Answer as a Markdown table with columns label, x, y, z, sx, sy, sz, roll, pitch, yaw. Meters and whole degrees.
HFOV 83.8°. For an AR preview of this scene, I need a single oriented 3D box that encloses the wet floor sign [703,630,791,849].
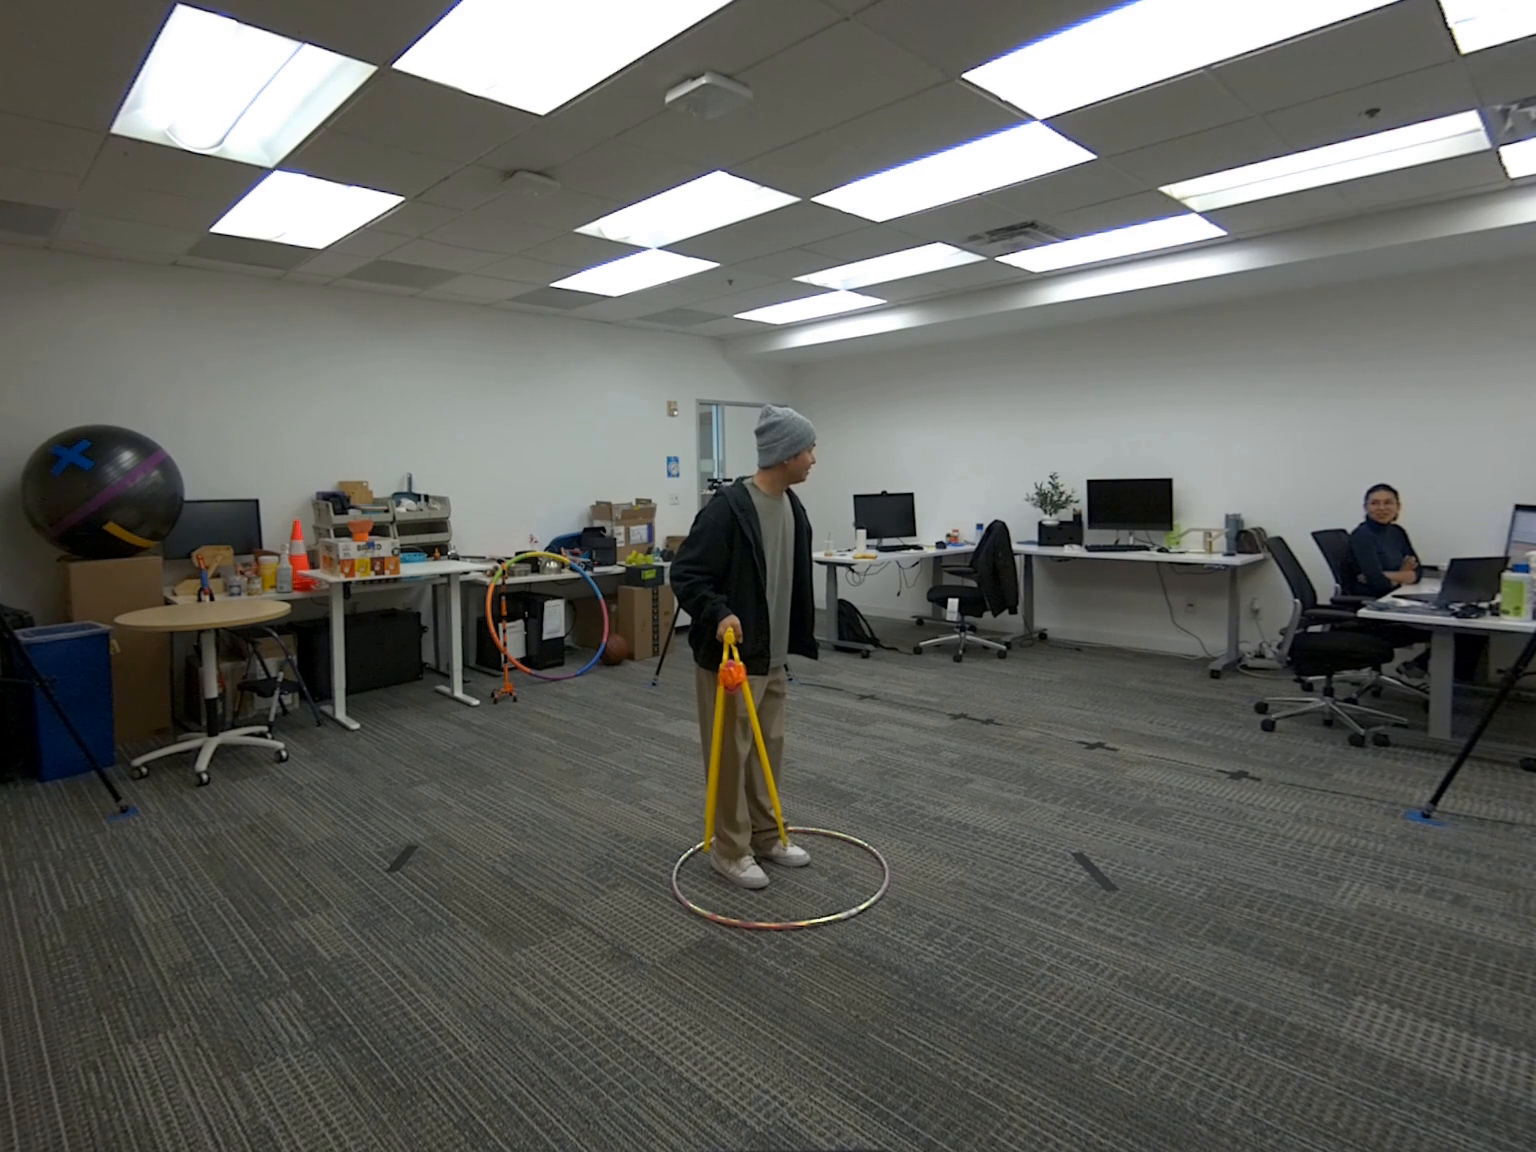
| label | x | y | z | sx | sy | sz | roll | pitch | yaw |
| --- | --- | --- | --- | --- | --- | --- | --- | --- | --- |
| wet floor sign | -0.096 | 0.488 | 2.684 | 0.289 | 0.650 | 0.281 | -4 | -5 | -3 |
